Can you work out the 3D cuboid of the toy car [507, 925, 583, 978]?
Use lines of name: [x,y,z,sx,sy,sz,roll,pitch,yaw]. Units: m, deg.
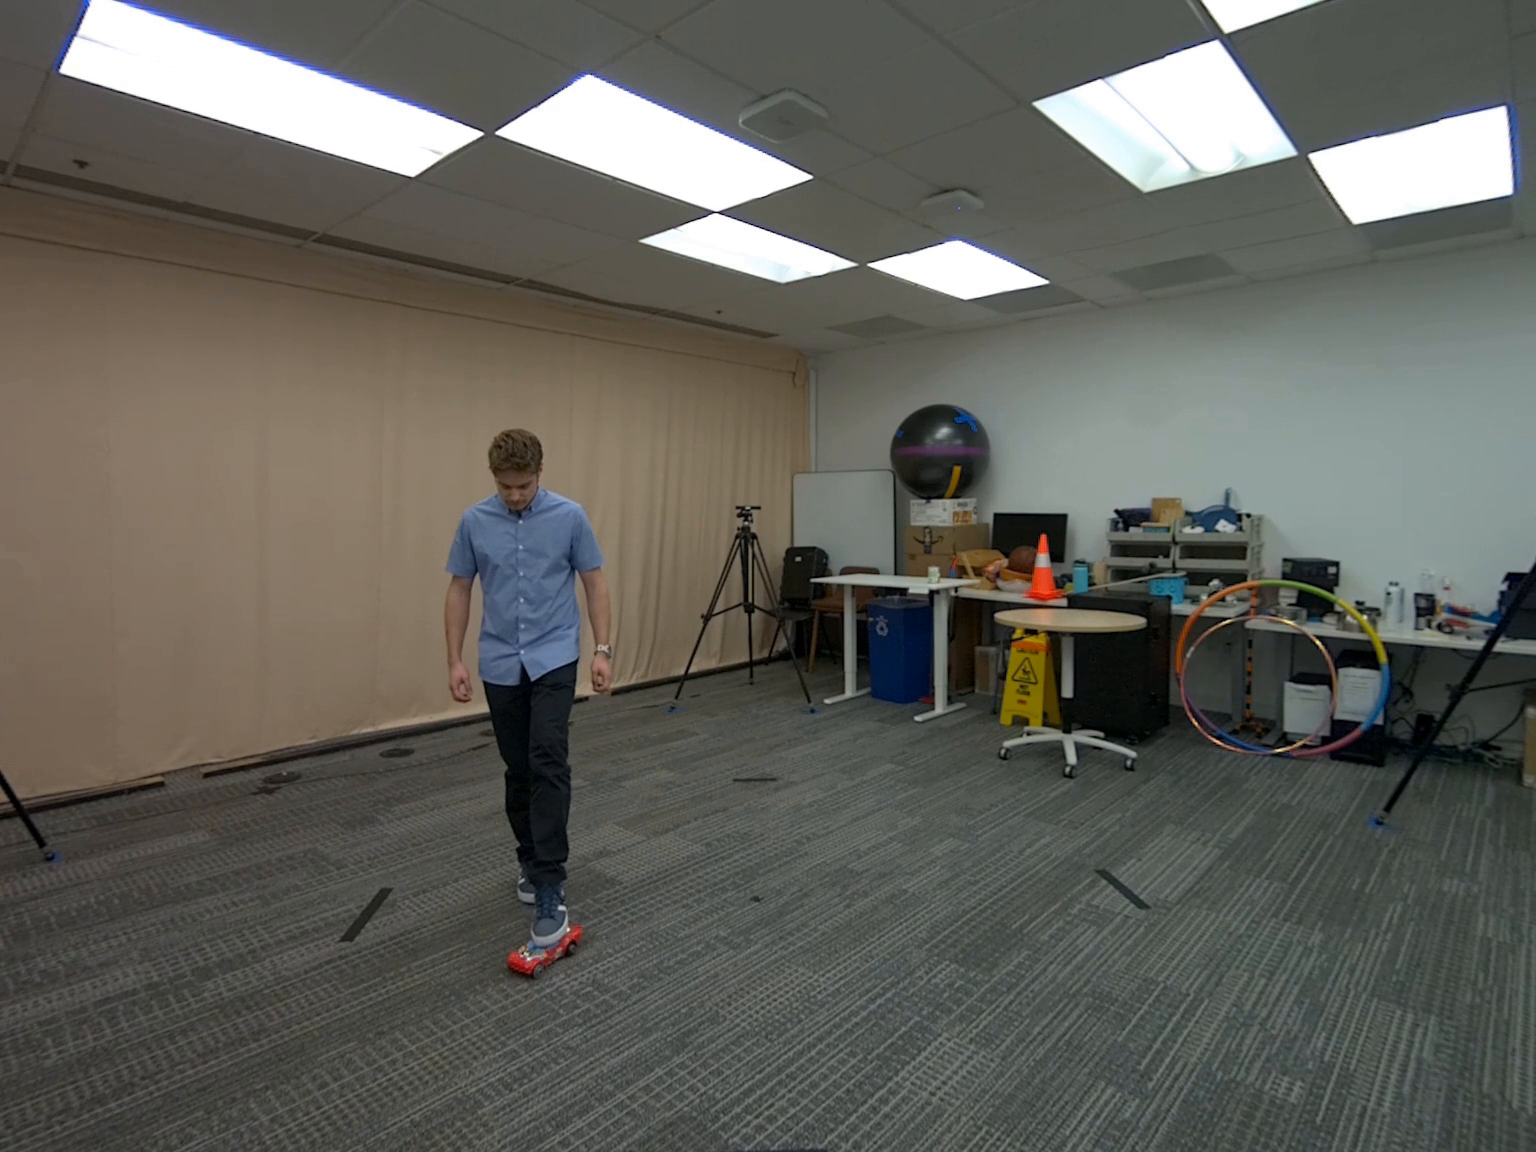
toy car: [-0.687,1.153,2.590,0.134,0.082,0.249,0,15,31]
